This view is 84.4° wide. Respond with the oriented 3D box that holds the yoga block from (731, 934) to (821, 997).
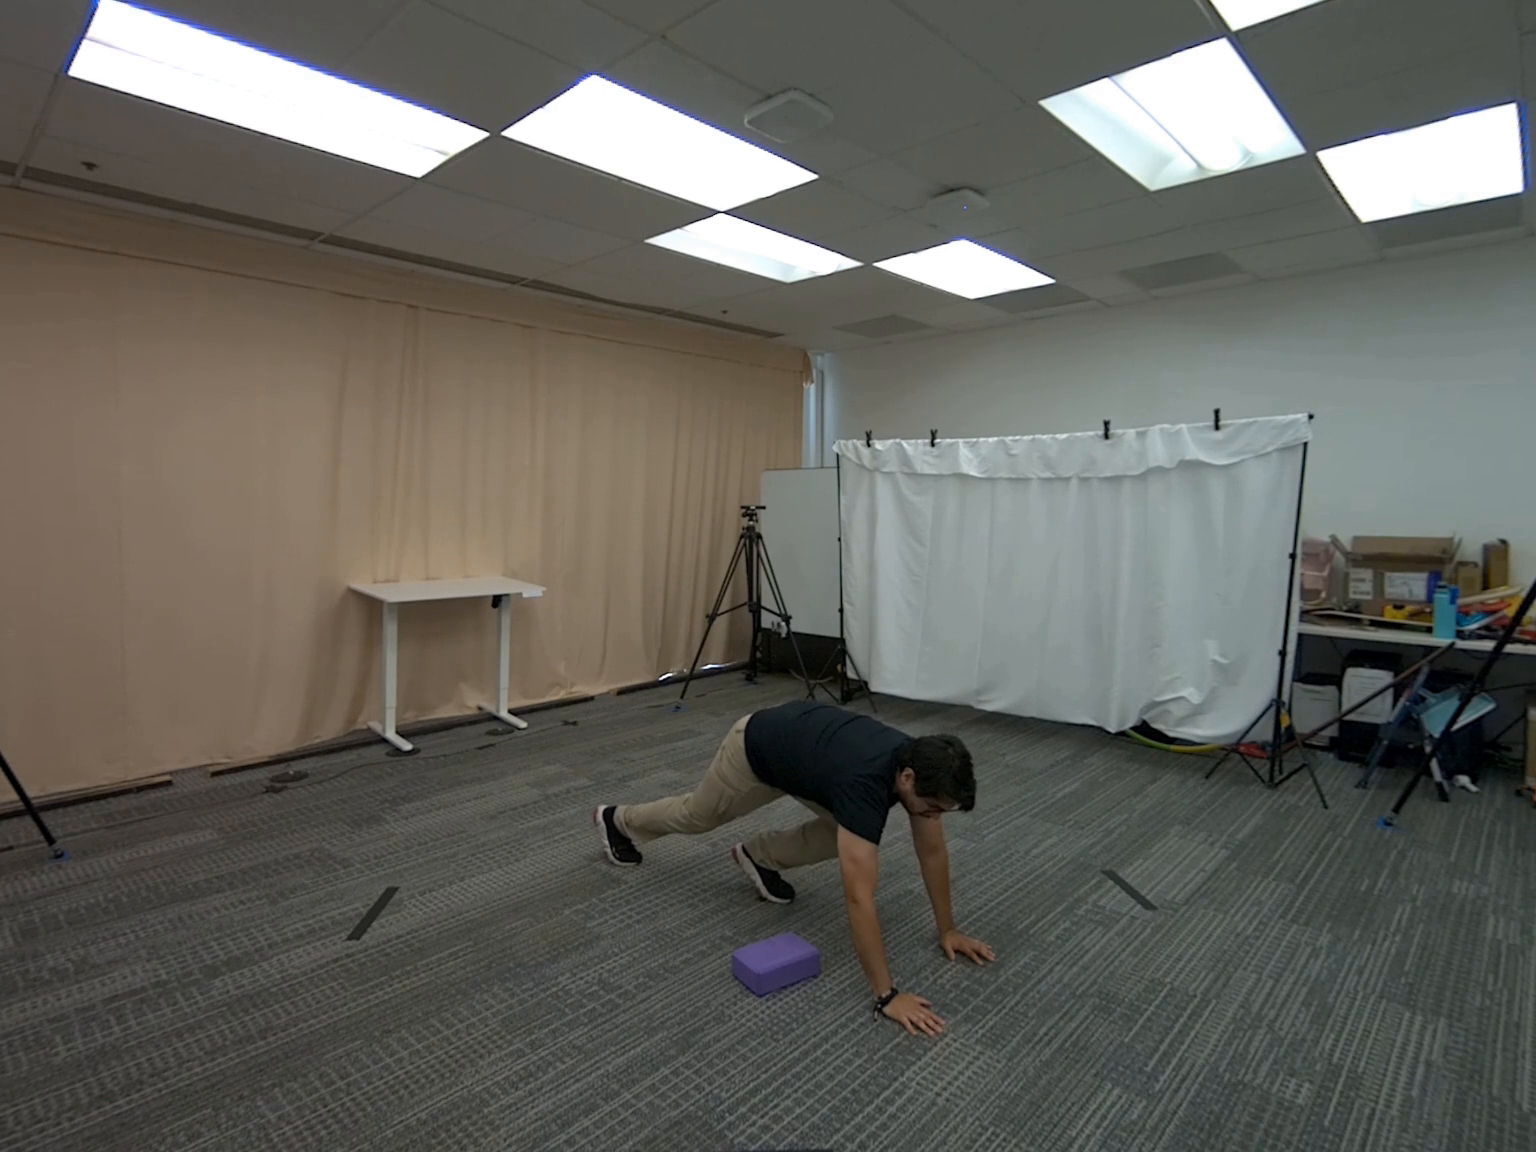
[{"bbox_3d":[0.026,1.144,2.493,0.223,0.076,0.153,-4,6,-33],"label":"yoga block"}]
